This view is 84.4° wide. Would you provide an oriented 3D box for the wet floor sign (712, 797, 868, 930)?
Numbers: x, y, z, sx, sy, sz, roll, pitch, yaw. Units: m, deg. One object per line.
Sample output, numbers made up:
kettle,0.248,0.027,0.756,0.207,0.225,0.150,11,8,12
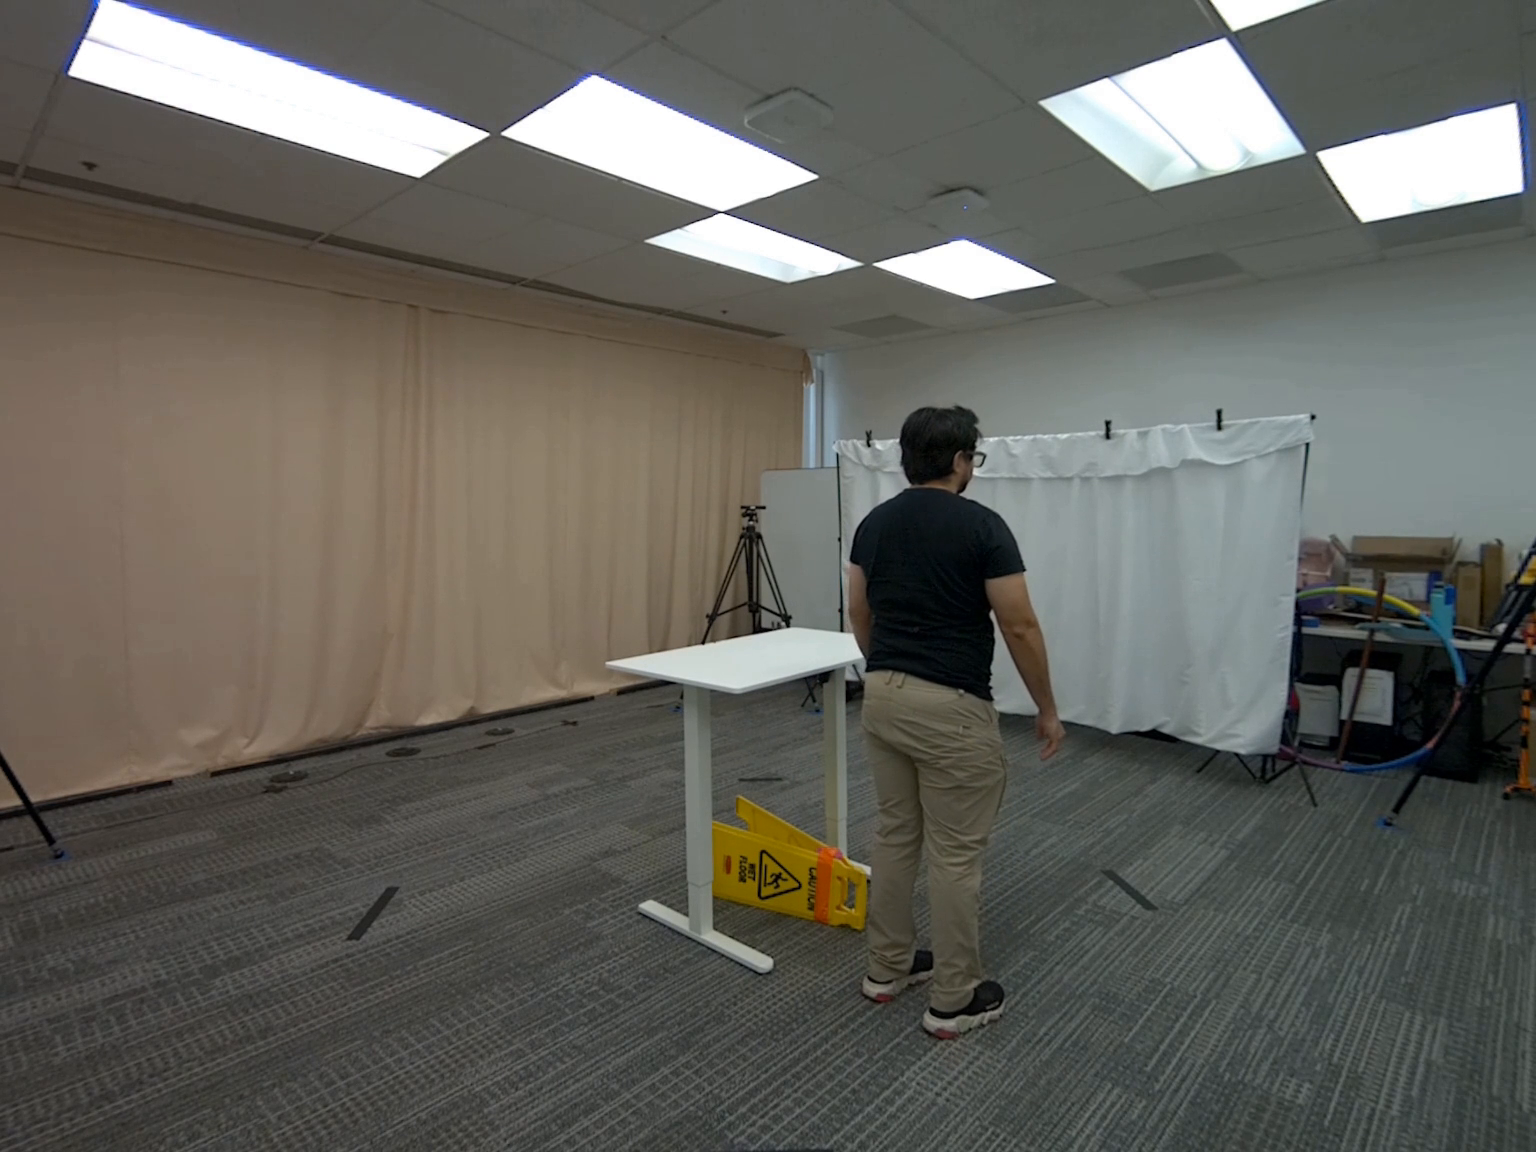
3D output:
wet floor sign,0.063,1.024,2.943,0.668,0.281,0.281,7,7,38
